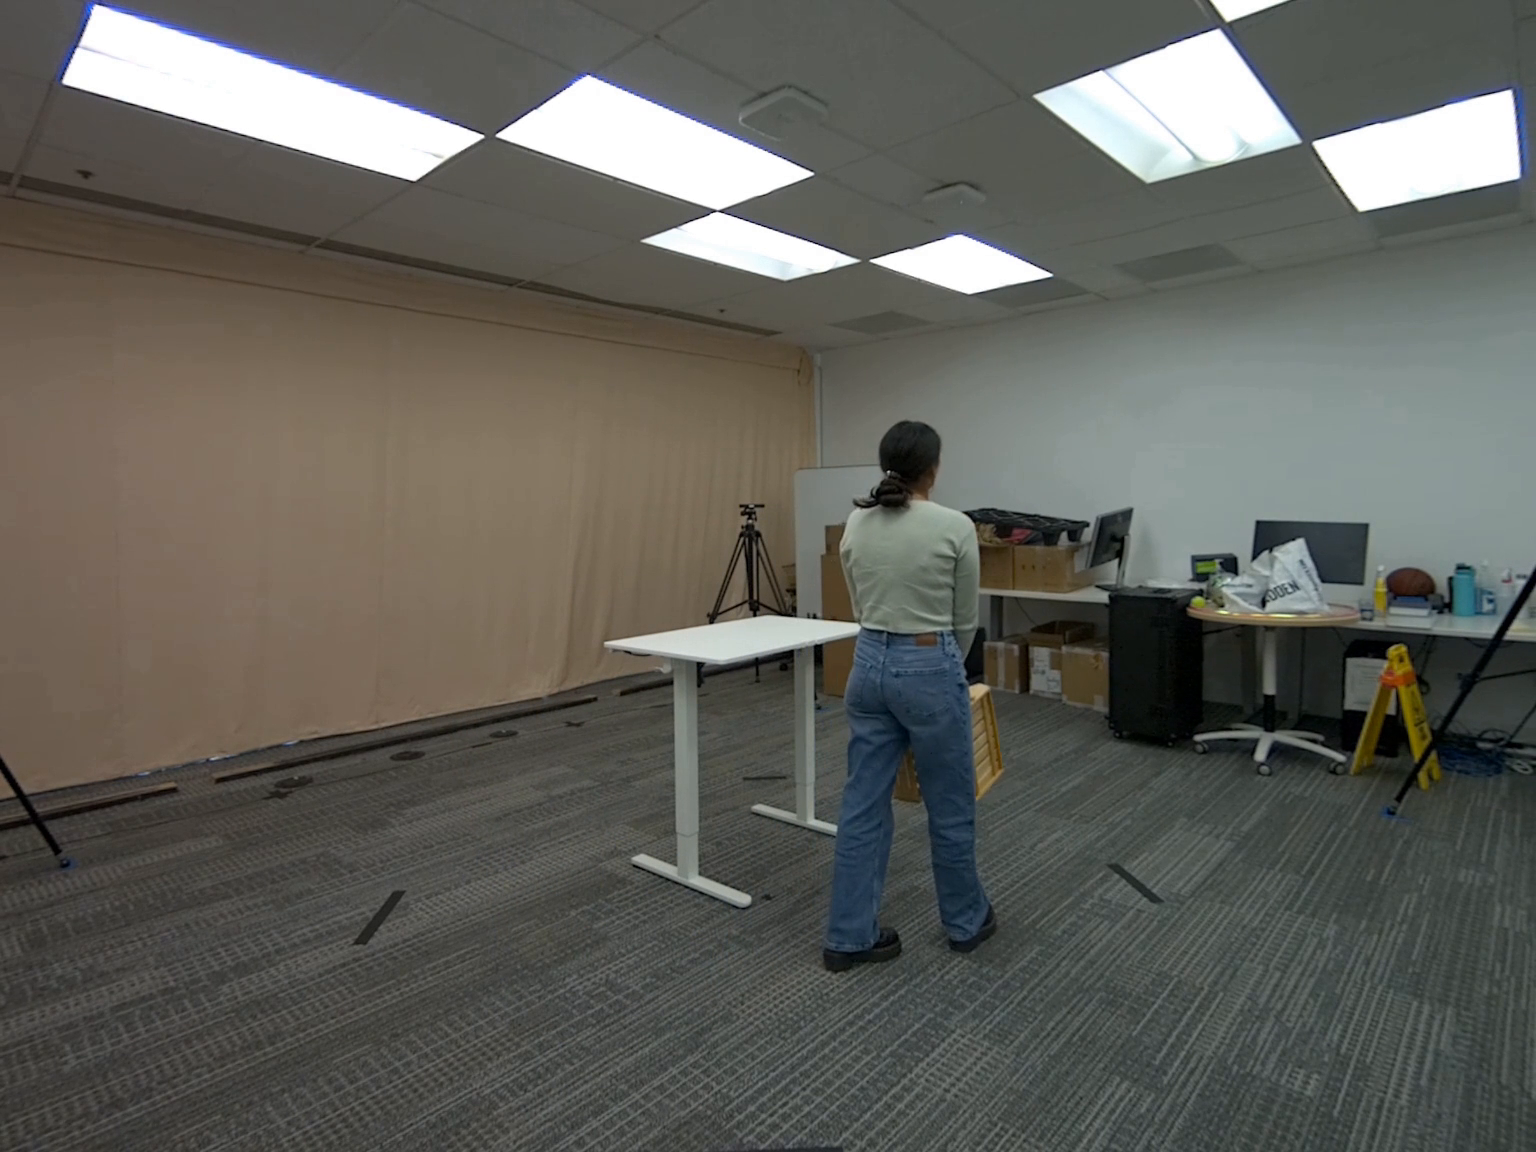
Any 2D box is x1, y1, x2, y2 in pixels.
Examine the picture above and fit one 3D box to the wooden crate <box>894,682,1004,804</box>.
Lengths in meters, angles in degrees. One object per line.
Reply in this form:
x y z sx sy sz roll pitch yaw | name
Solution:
0.586 0.550 2.772 0.282 0.321 0.295 -3 15 42 | wooden crate
